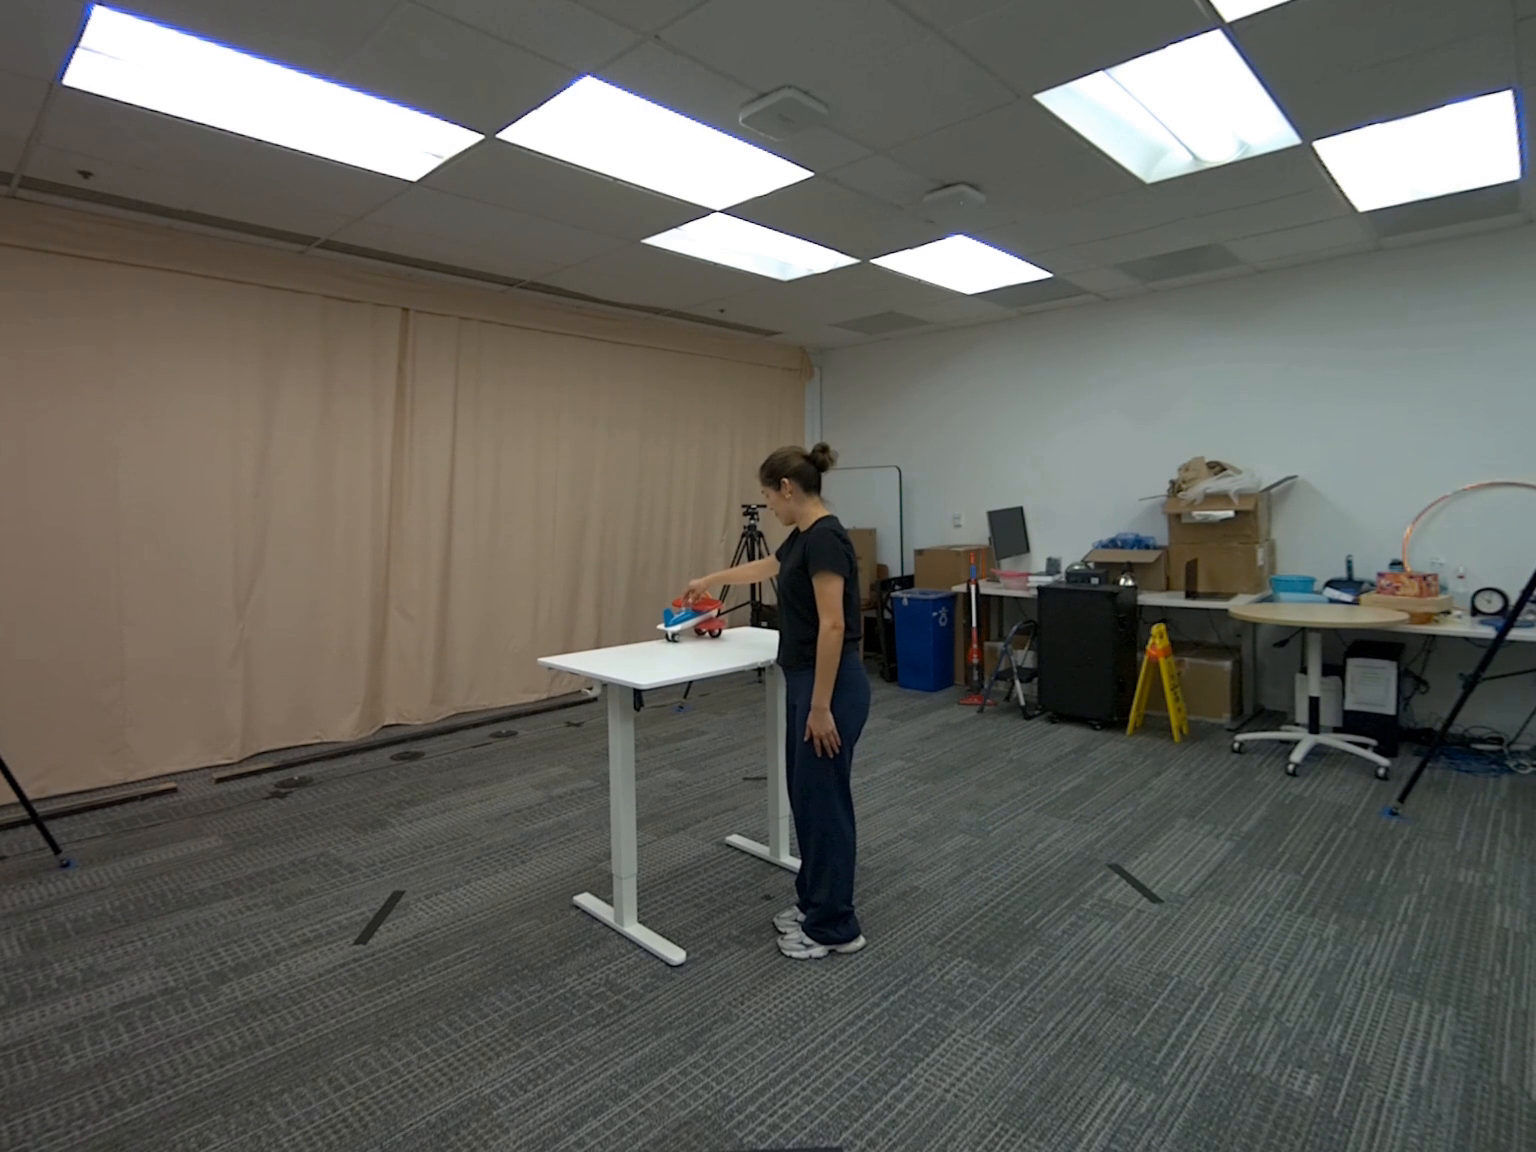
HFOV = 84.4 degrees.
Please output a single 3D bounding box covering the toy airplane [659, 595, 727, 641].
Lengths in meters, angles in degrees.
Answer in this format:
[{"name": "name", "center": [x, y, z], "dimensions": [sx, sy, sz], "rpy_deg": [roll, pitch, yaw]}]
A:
[{"name": "toy airplane", "center": [-0.265, 0.167, 3.217], "dimensions": [0.256, 0.156, 0.255], "rpy_deg": [1, 4, 18]}]
